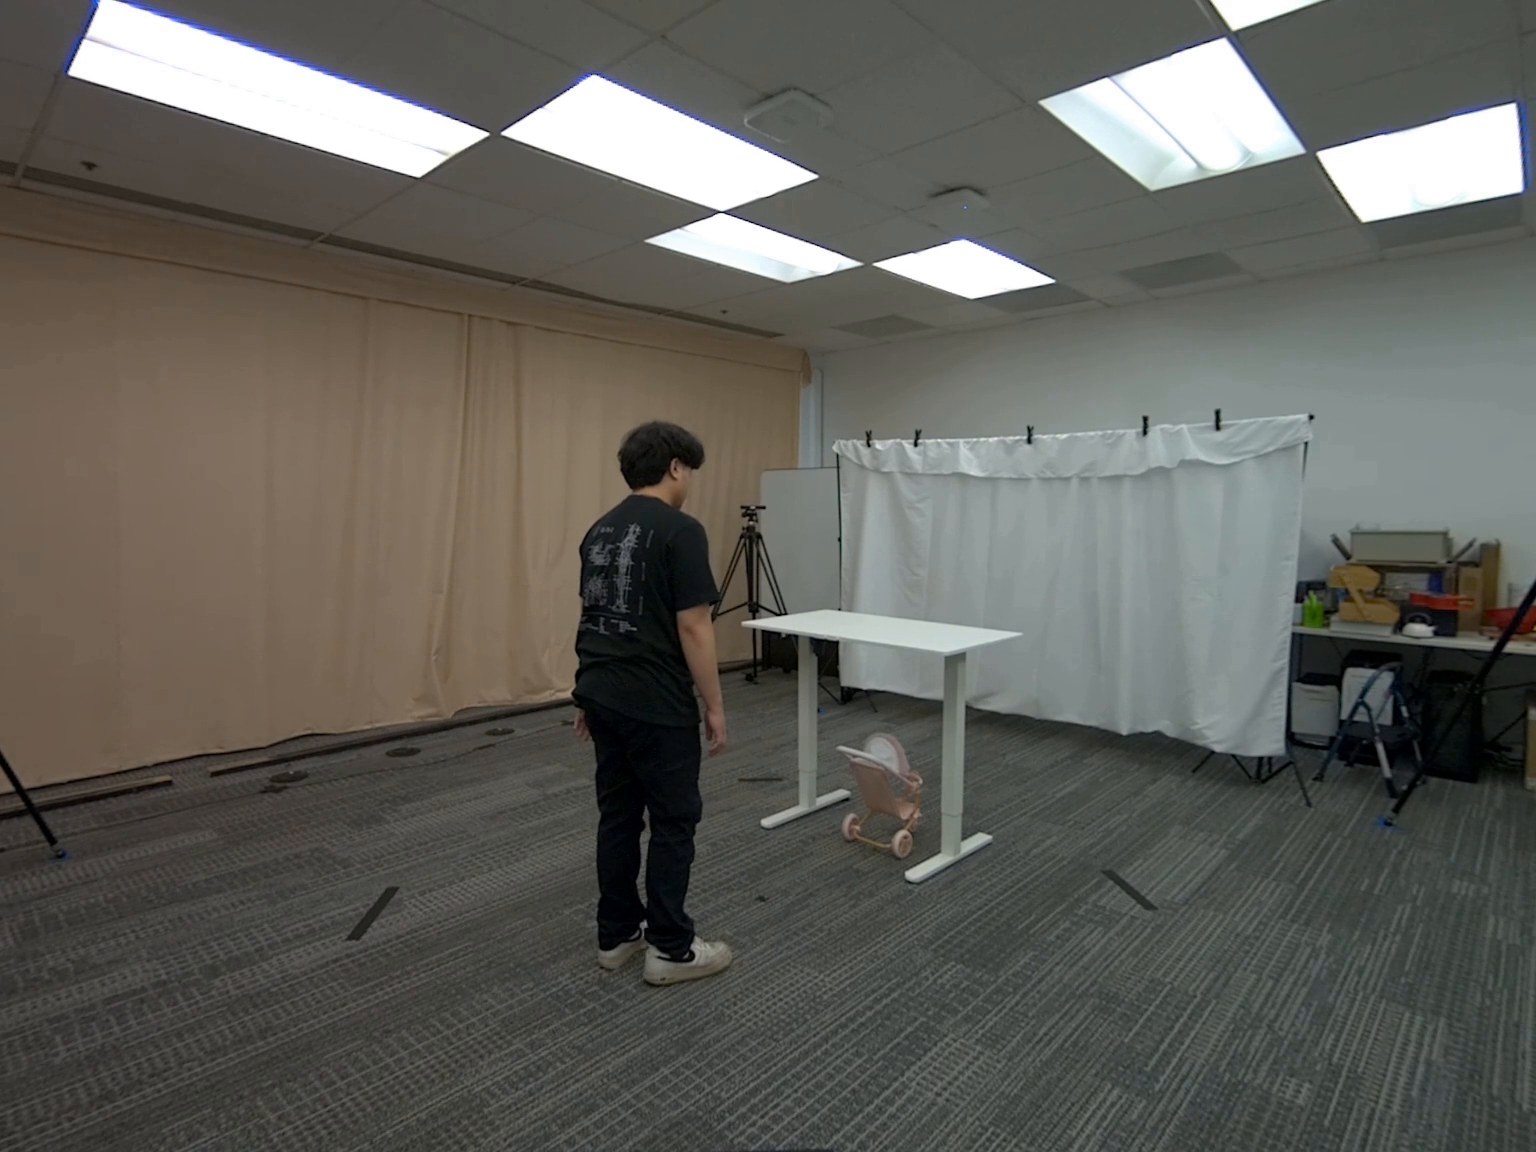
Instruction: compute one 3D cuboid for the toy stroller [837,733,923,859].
[{"bbox_3d":[0.490,0.878,3.453,0.334,0.529,0.291,-23,18,-40],"label":"toy stroller"}]
